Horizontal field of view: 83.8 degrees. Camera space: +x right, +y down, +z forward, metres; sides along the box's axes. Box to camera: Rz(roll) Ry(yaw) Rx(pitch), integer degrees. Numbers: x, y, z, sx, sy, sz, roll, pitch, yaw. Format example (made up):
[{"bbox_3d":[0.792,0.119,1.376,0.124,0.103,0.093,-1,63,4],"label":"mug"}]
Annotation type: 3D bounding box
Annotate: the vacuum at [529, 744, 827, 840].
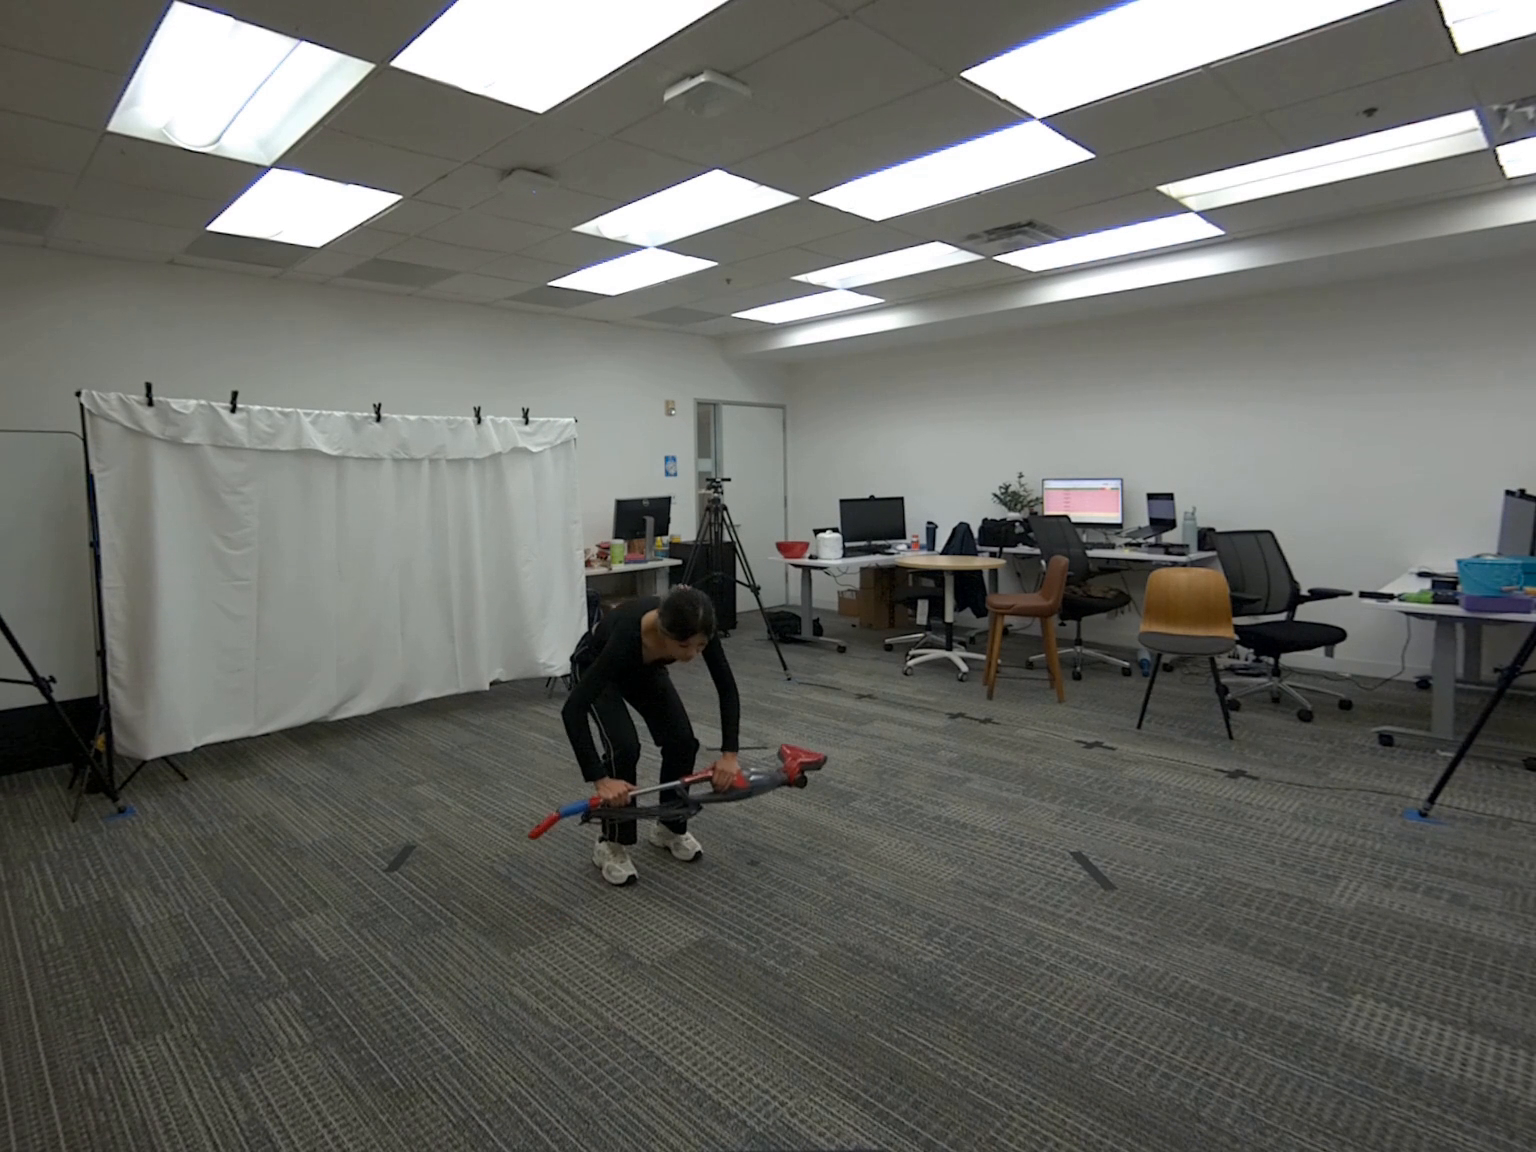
[{"bbox_3d":[-0.282,0.740,2.873,1.022,0.144,0.259,-5,3,-37],"label":"vacuum"}]
